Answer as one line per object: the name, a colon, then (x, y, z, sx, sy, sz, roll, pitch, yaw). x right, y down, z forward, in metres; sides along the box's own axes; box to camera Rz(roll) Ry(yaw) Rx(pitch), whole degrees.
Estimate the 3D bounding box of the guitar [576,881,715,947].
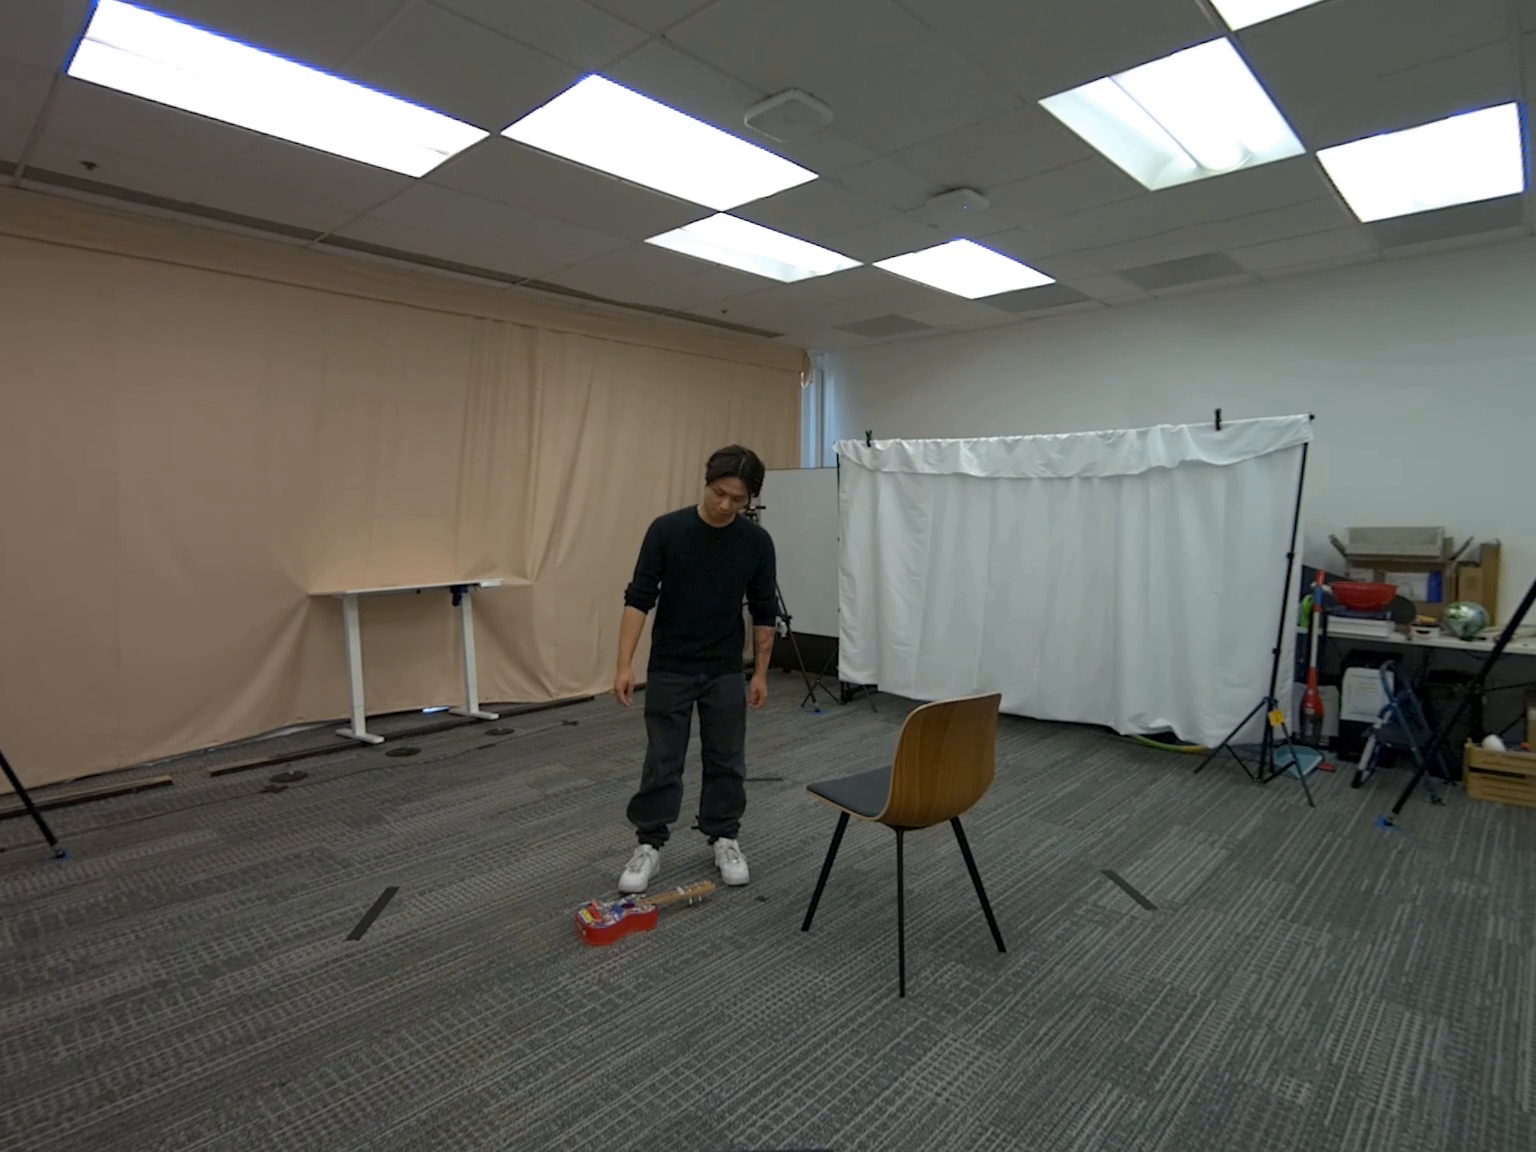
guitar: (-0.397, 1.121, 2.825, 0.488, 0.070, 0.197, -3, 5, -20)
